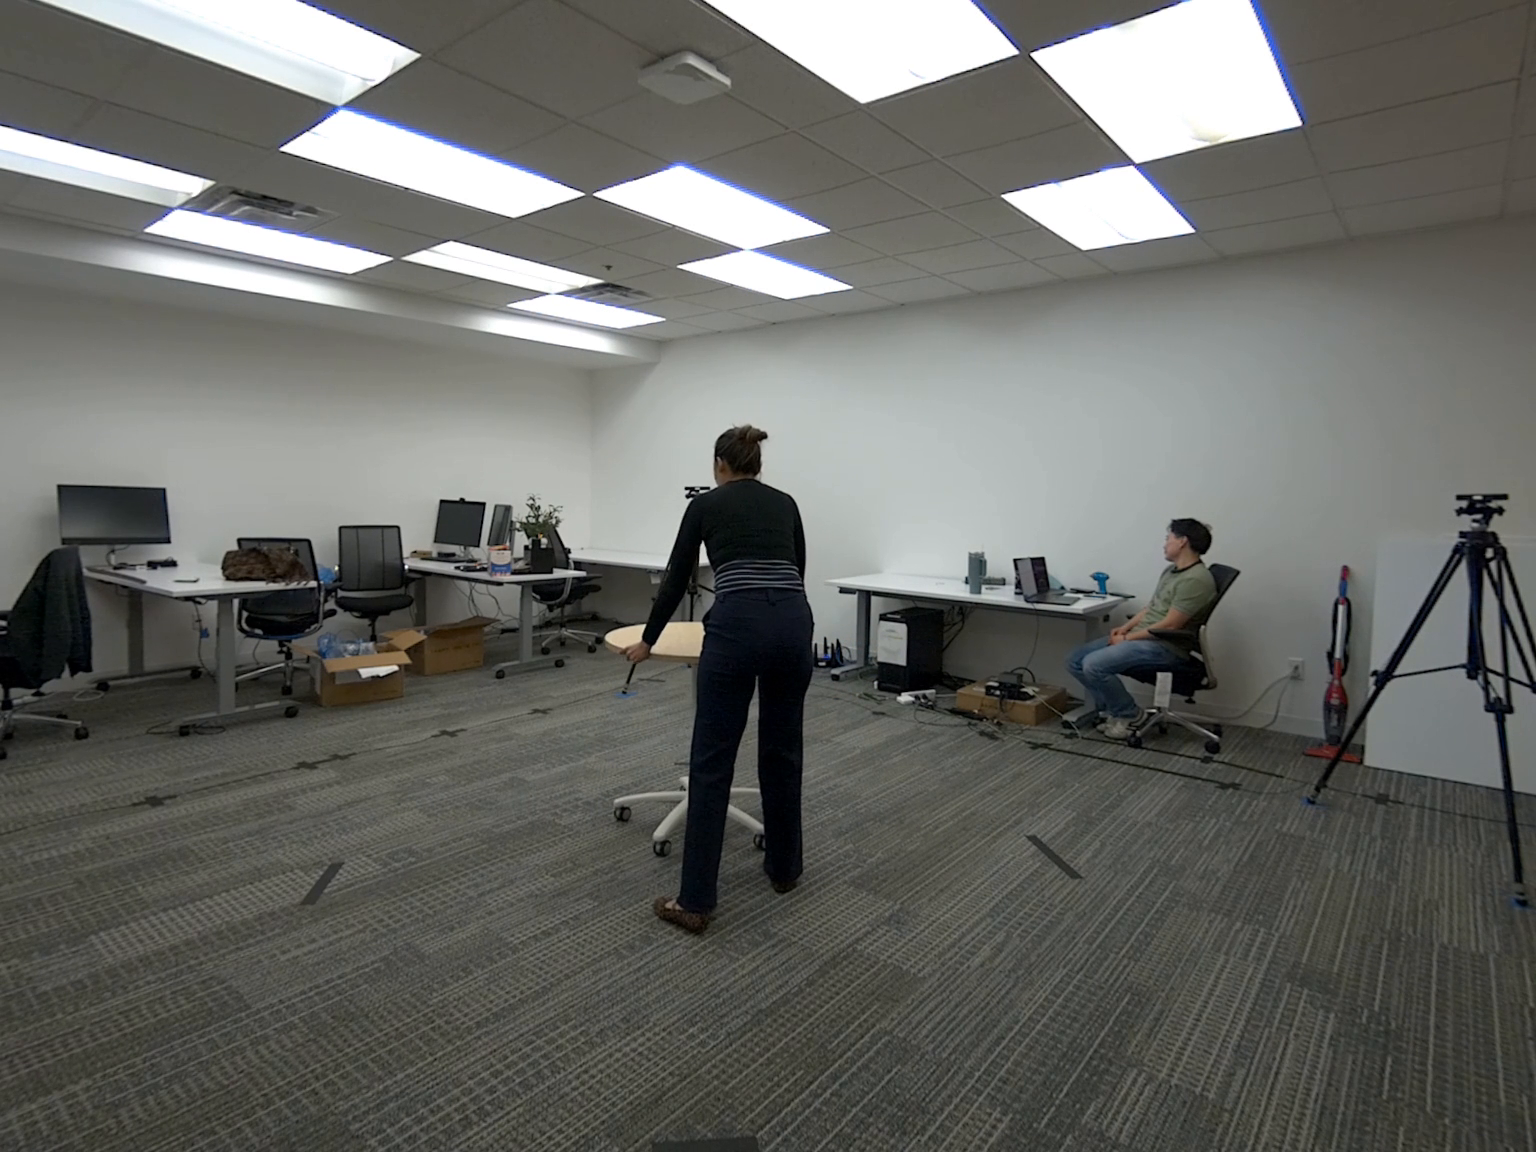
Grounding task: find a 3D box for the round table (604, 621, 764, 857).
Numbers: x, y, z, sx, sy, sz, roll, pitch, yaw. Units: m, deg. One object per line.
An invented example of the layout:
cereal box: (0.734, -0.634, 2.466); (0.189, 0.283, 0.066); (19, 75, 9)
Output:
round table: (-0.296, 0.637, 3.473); (0.763, 0.791, 0.768); (0, 4, -2)
